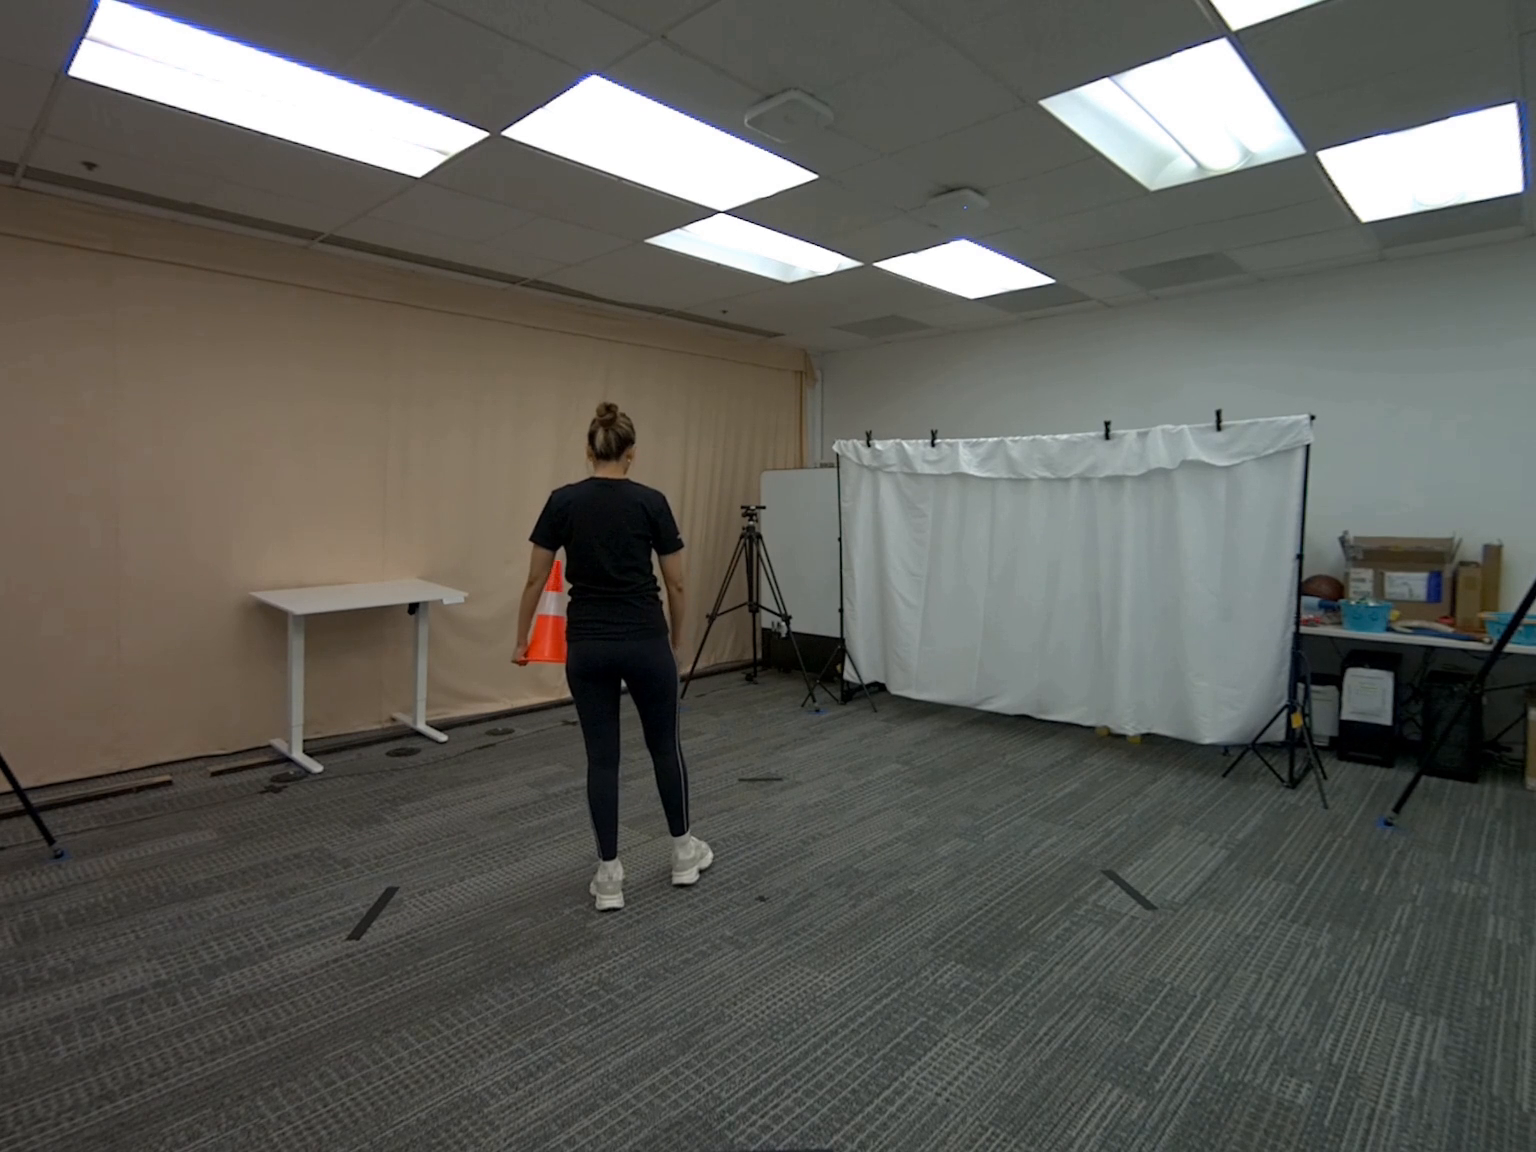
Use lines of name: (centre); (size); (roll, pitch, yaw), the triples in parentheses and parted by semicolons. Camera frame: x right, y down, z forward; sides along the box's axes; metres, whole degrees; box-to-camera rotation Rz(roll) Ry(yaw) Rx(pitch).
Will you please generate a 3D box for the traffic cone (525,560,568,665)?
traffic cone: (-0.806, 0.127, 3.132); (0.199, 0.385, 0.209); (7, -6, -22)
